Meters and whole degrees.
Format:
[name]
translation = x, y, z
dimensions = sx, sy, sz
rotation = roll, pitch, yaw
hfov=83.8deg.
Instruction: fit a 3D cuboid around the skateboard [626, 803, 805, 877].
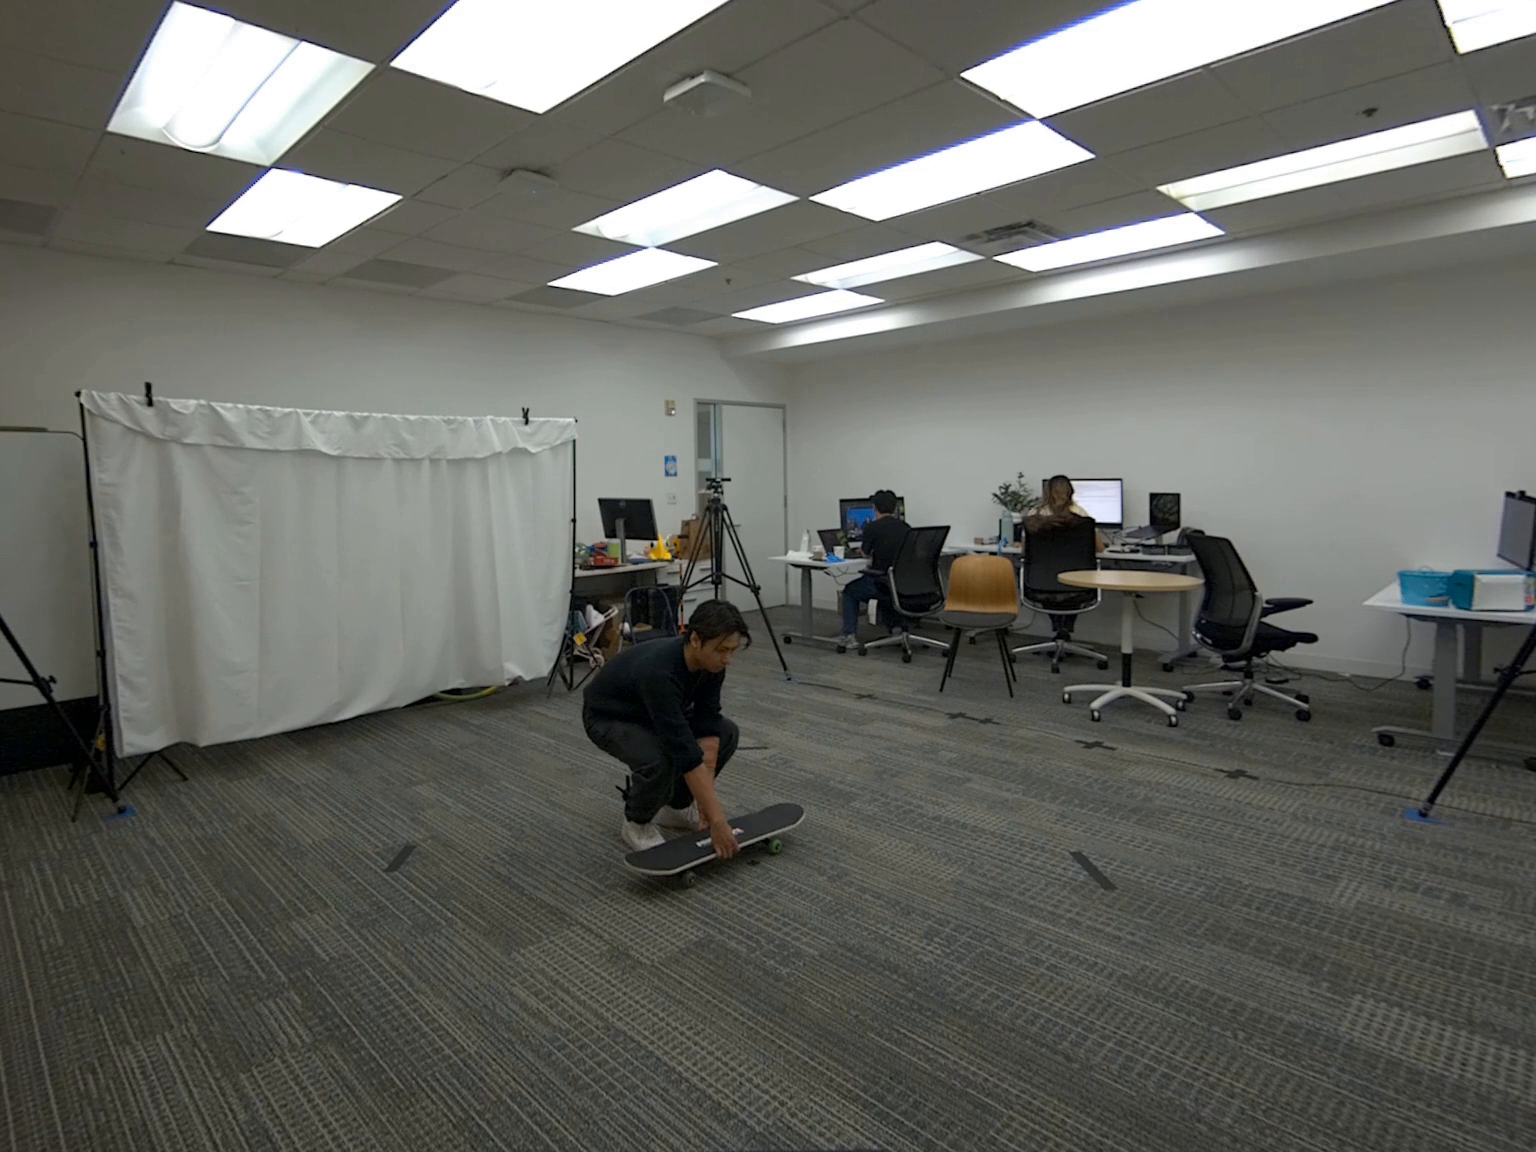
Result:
[skateboard]
translation = -0.167, 0.979, 3.097
dimensions = 0.765, 0.110, 0.199
rotation = -6, 9, -40
